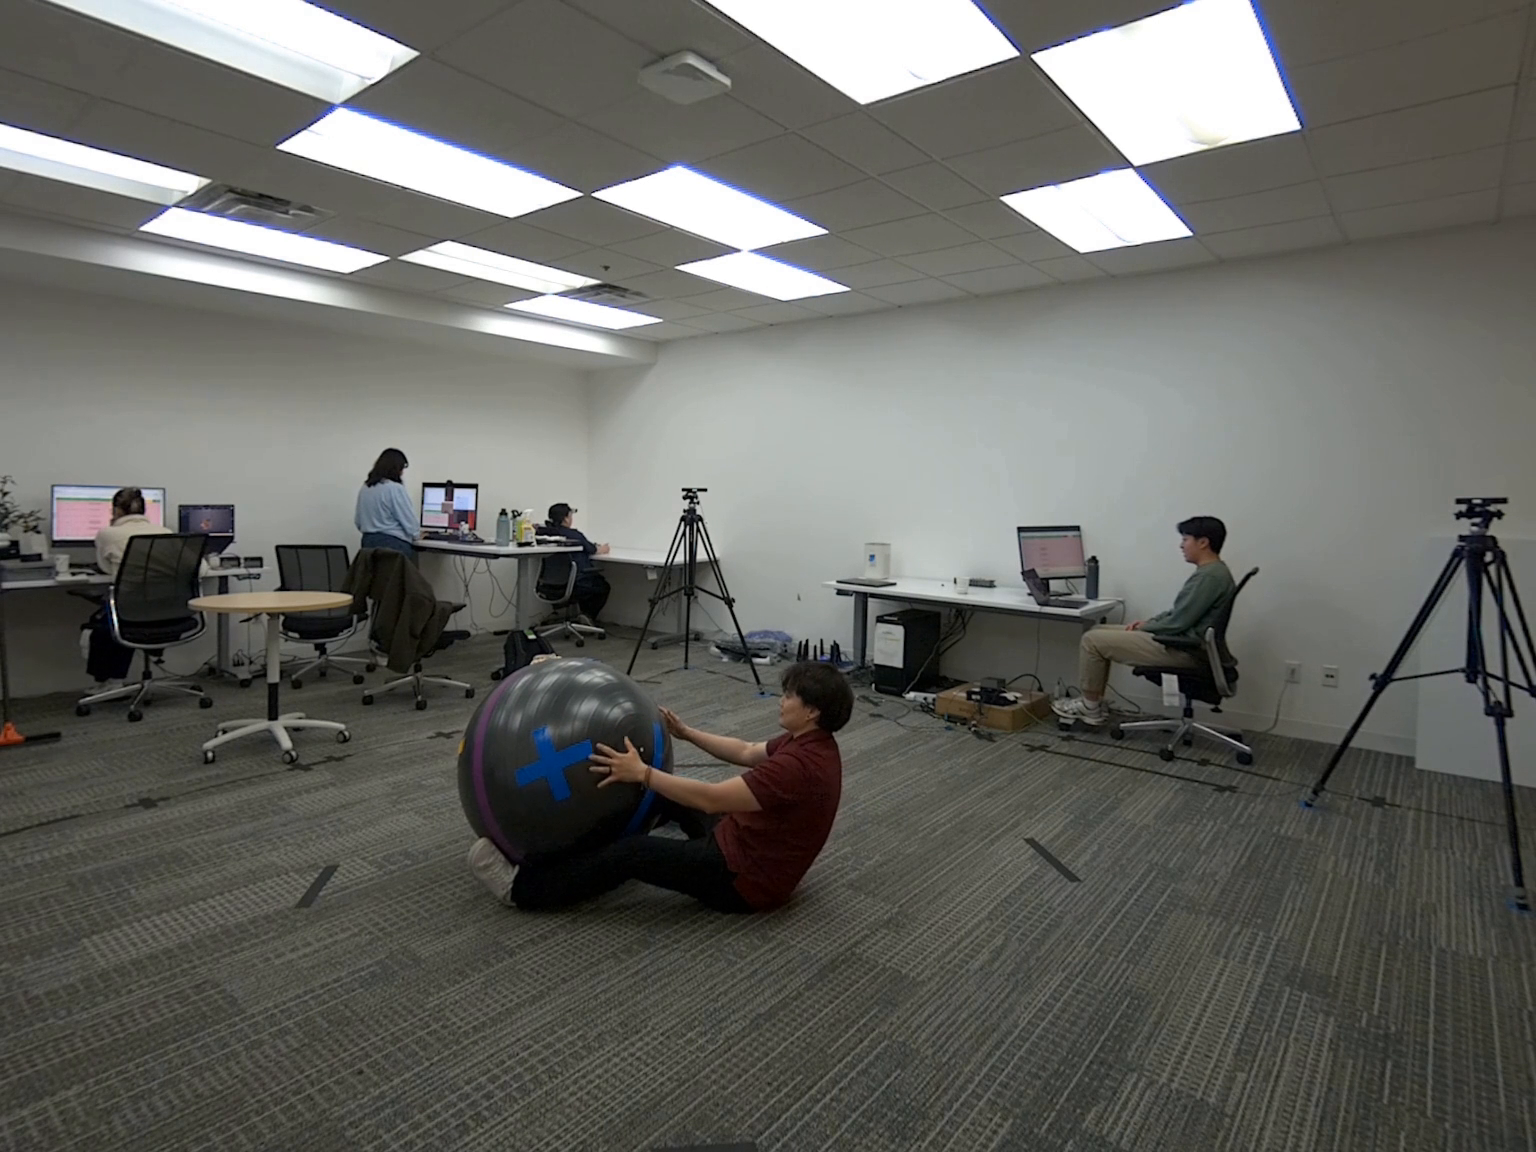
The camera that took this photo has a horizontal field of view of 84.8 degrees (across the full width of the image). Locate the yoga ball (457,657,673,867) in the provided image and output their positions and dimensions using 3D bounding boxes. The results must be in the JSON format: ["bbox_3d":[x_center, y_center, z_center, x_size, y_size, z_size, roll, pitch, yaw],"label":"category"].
[{"bbox_3d":[-0.734,0.674,3.044,0.757,0.755,0.762,1,4,-2],"label":"yoga ball"}]
